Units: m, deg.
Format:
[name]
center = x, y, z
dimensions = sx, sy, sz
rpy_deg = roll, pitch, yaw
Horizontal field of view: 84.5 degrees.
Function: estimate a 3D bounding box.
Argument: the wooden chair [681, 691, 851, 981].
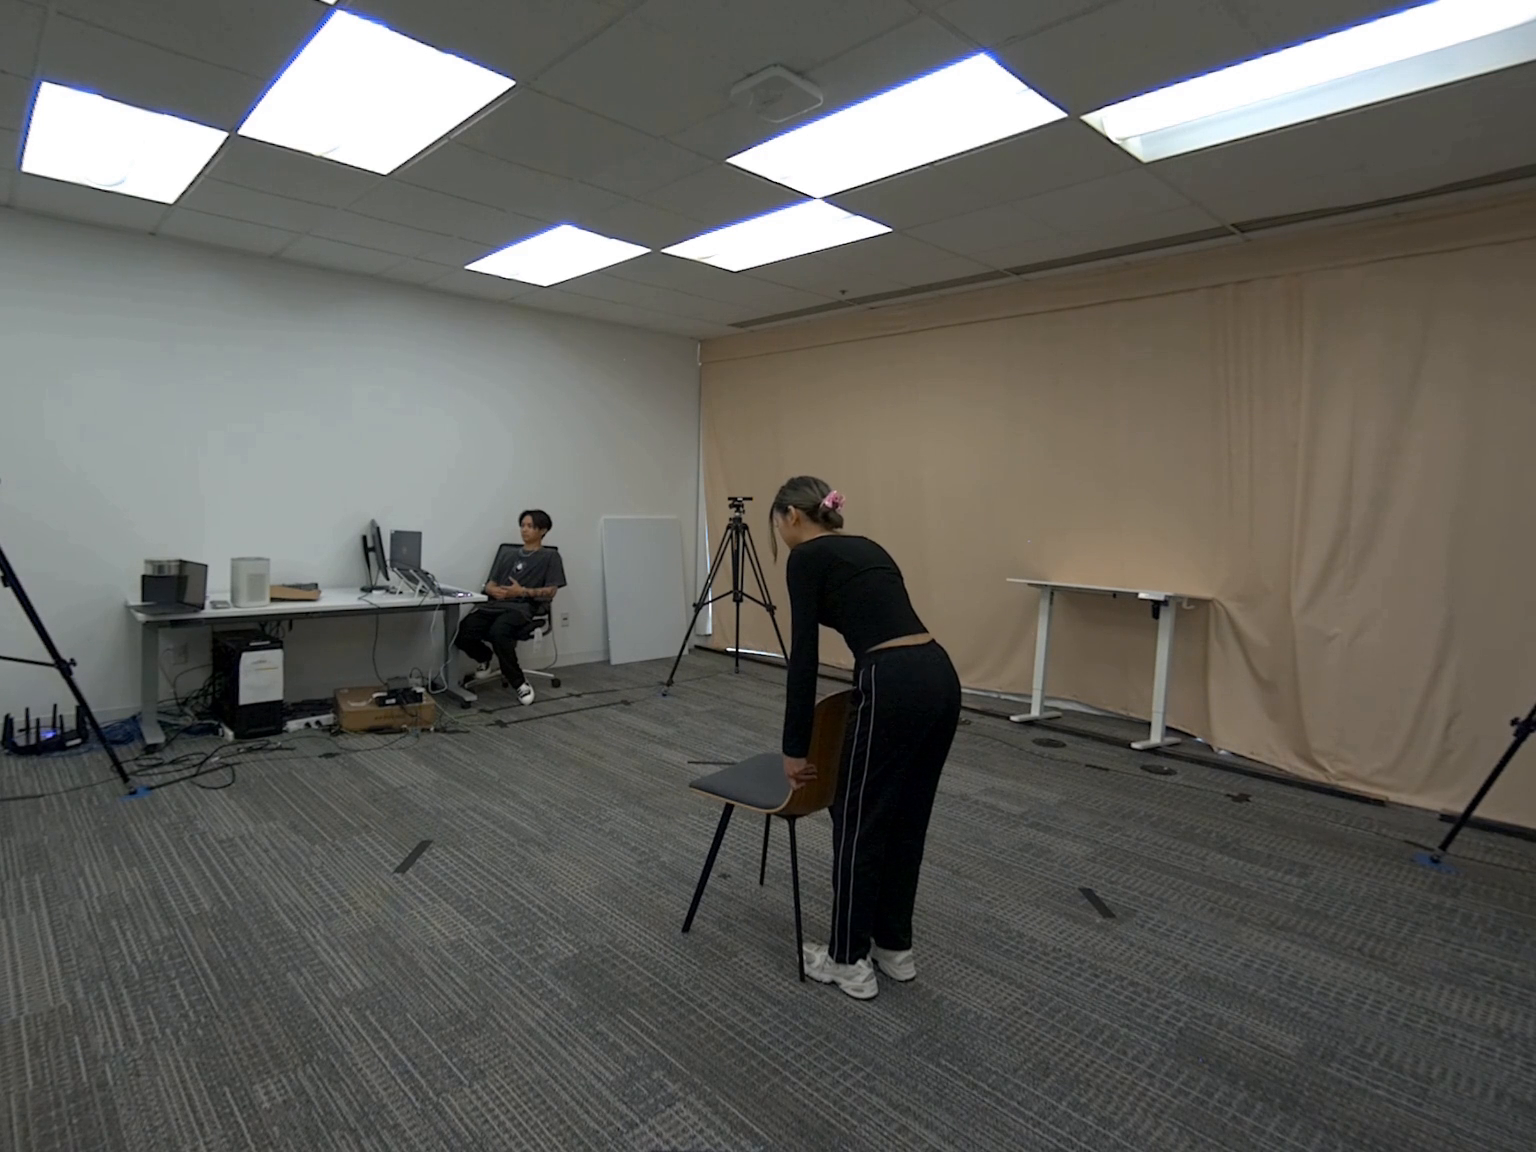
[wooden chair]
center = 0.035, 0.718, 2.717
dimensions = 0.536, 0.873, 0.468
rpy_deg = 10, 8, 34
